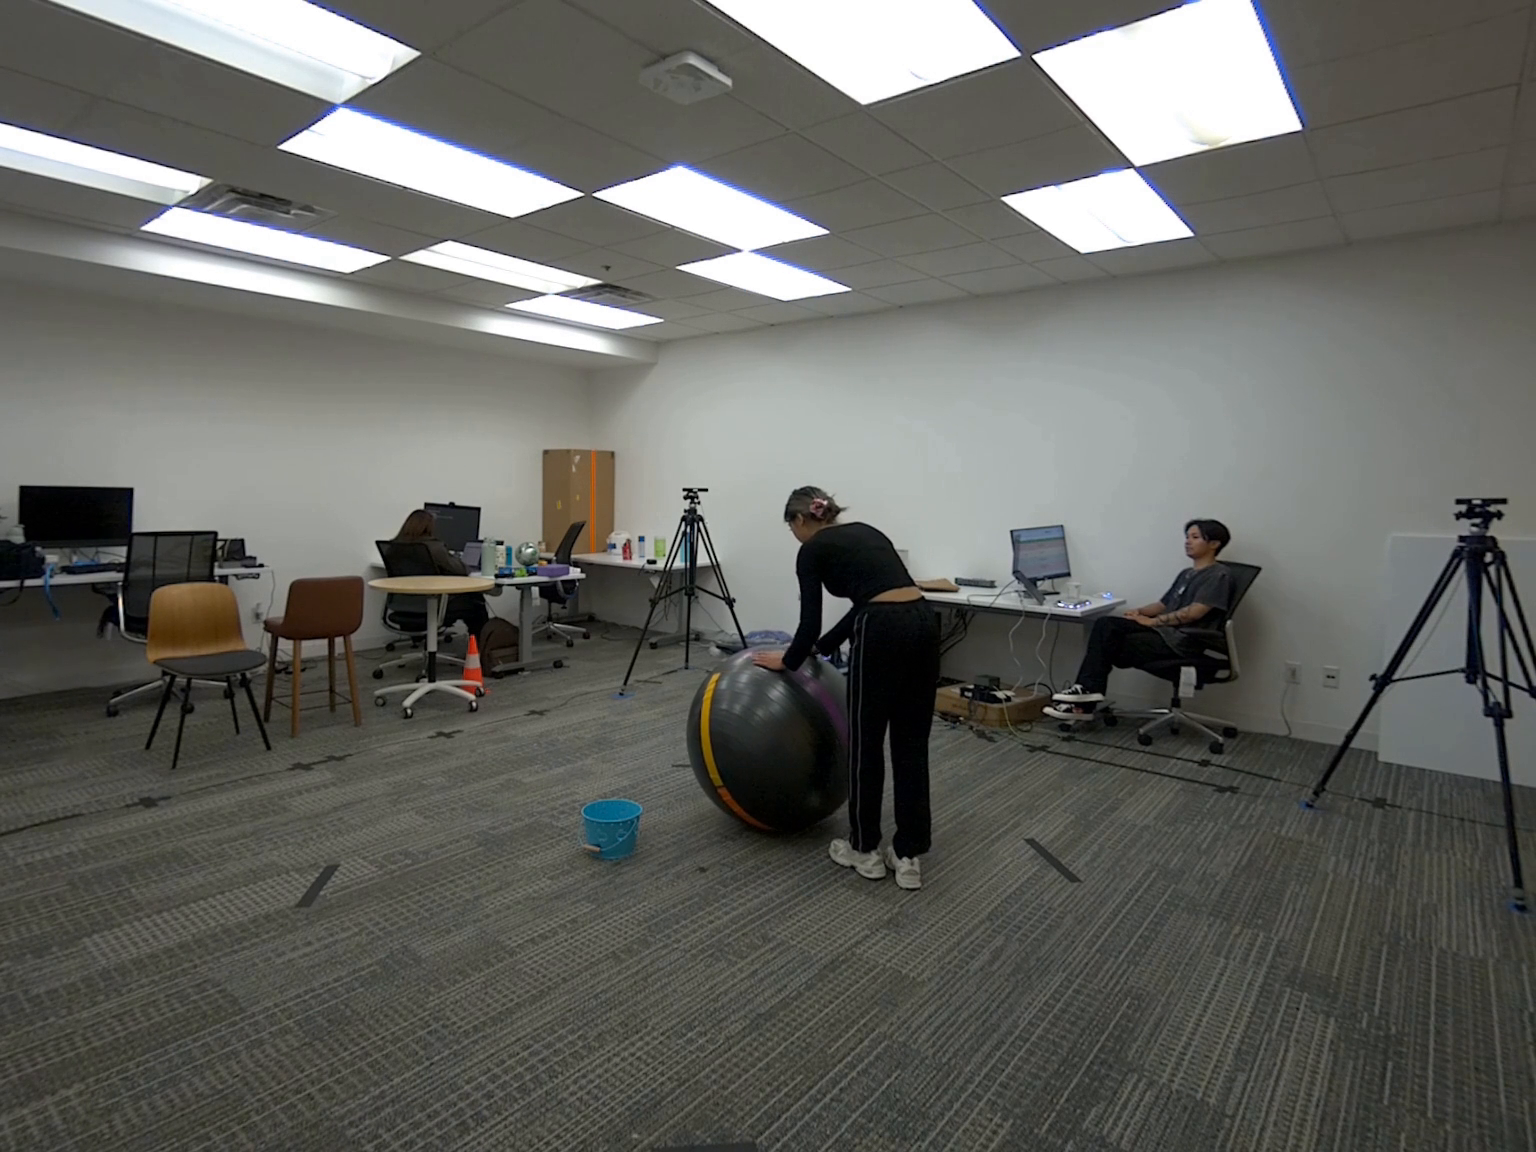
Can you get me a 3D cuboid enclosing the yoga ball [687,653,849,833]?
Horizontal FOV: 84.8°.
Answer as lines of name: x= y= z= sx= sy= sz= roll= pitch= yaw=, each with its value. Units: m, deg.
yoga ball: x=0.025 y=0.665 z=3.558 sx=0.757 sy=0.755 sz=0.762 roll=1 pitch=4 yaw=-2
